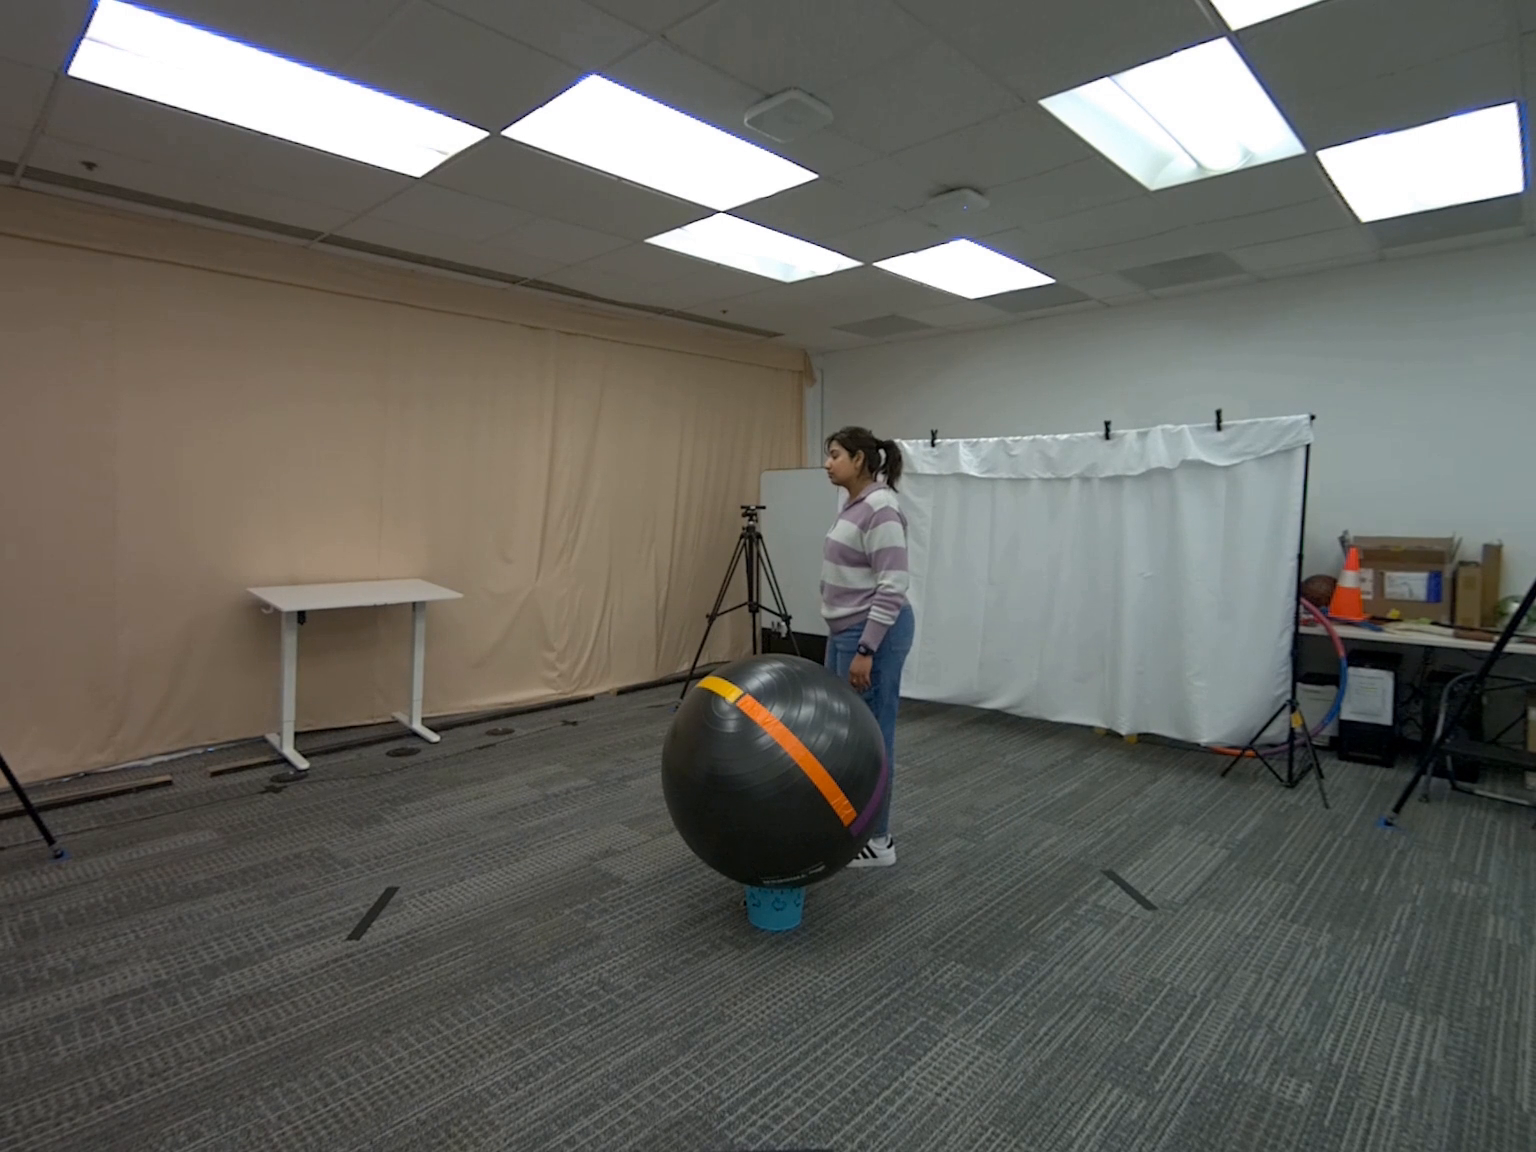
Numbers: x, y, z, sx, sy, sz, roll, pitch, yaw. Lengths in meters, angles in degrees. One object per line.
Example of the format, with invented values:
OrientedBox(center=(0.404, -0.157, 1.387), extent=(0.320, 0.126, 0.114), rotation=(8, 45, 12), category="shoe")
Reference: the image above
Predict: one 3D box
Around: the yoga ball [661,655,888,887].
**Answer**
OrientedBox(center=(0.021, 0.646, 2.826), extent=(0.757, 0.756, 0.760), rotation=(0, 4, -2), category="yoga ball")
